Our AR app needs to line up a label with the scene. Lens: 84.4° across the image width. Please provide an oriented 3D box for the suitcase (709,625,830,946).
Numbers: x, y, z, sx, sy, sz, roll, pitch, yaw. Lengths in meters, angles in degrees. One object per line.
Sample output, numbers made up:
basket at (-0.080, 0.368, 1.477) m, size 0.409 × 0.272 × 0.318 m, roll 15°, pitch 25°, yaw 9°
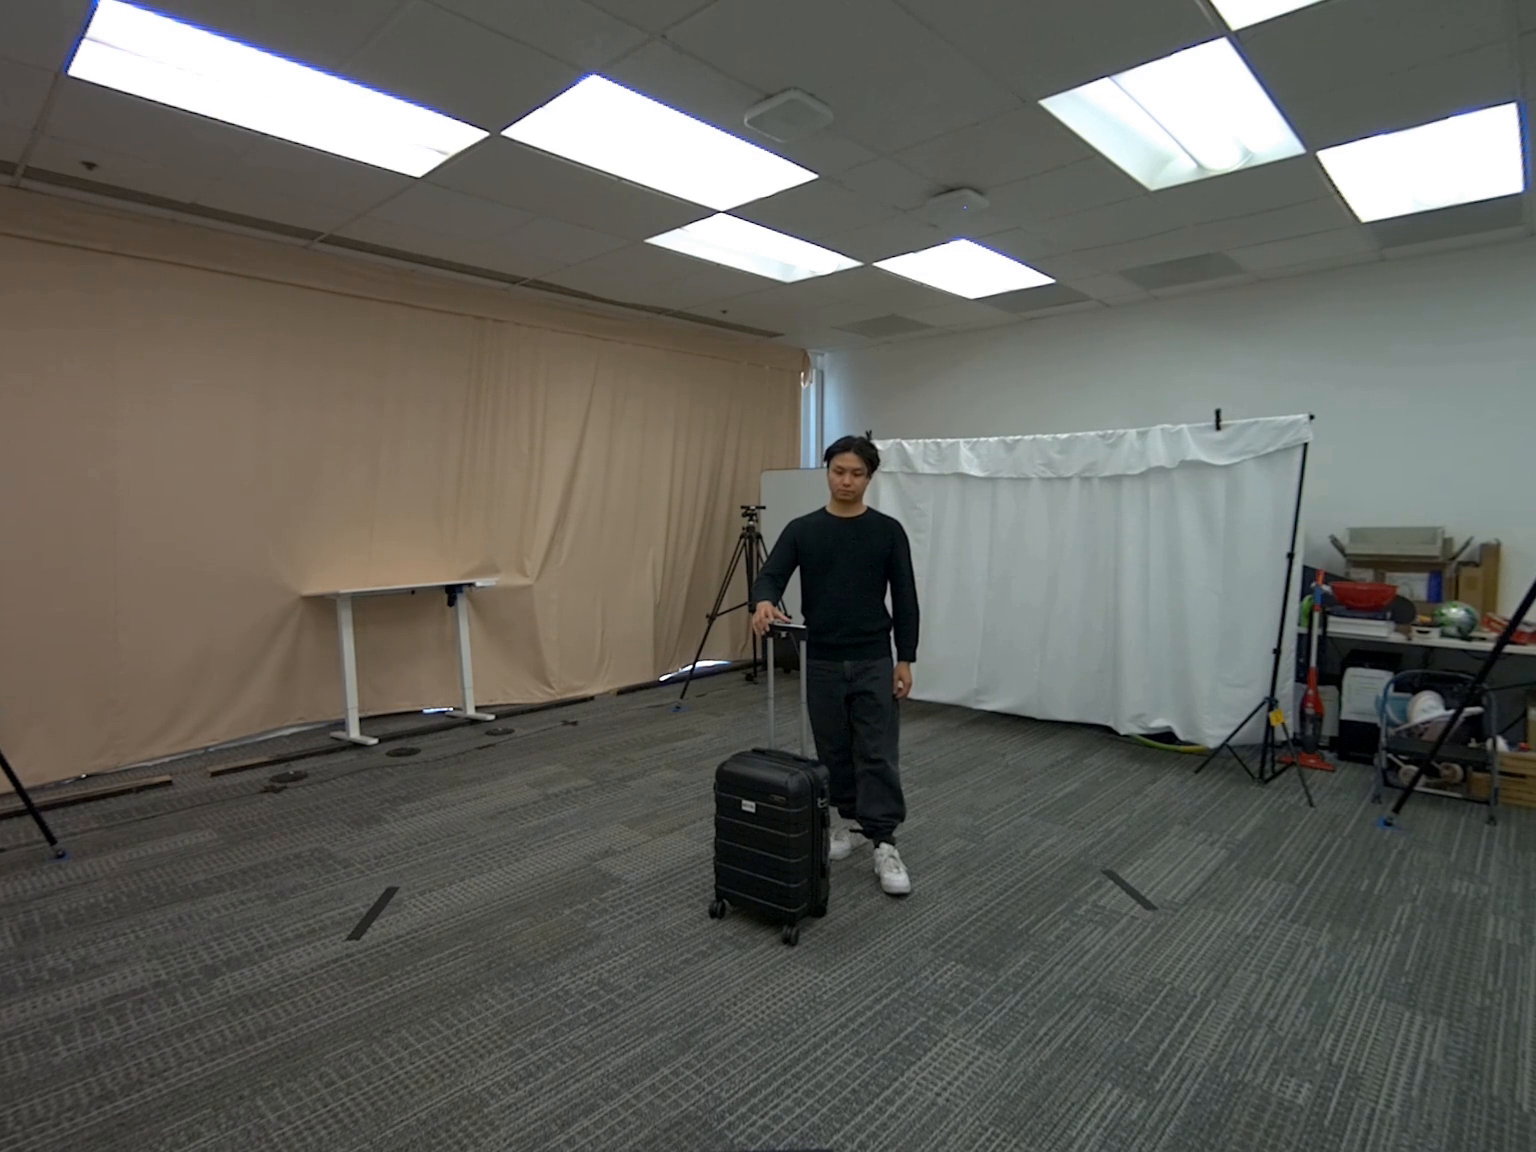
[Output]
suitcase at (0.010, 0.677, 2.834) m, size 0.396 × 0.976 × 0.250 m, roll 2°, pitch 4°, yaw 33°
